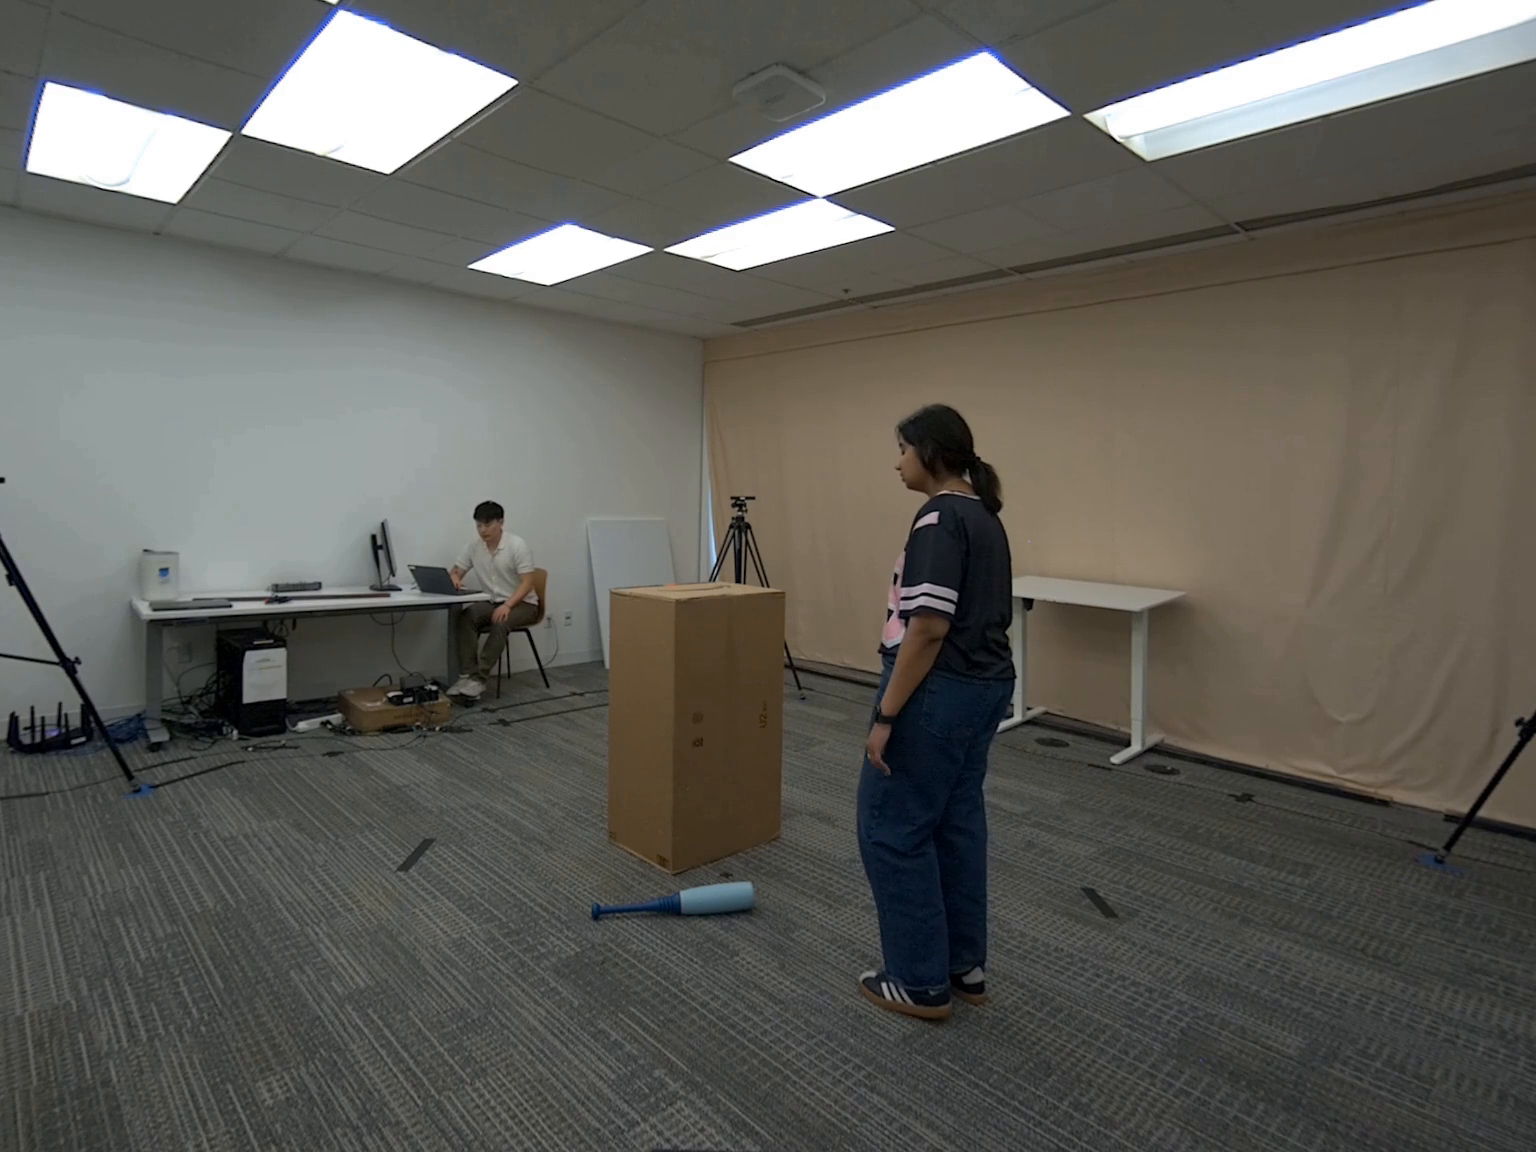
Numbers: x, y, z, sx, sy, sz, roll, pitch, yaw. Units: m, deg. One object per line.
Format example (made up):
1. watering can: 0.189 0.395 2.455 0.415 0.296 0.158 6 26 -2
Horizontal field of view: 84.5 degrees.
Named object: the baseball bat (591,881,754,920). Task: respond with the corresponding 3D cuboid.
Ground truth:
1. baseball bat: -0.326 1.095 2.804 0.539 0.089 0.090 -3 5 -8
